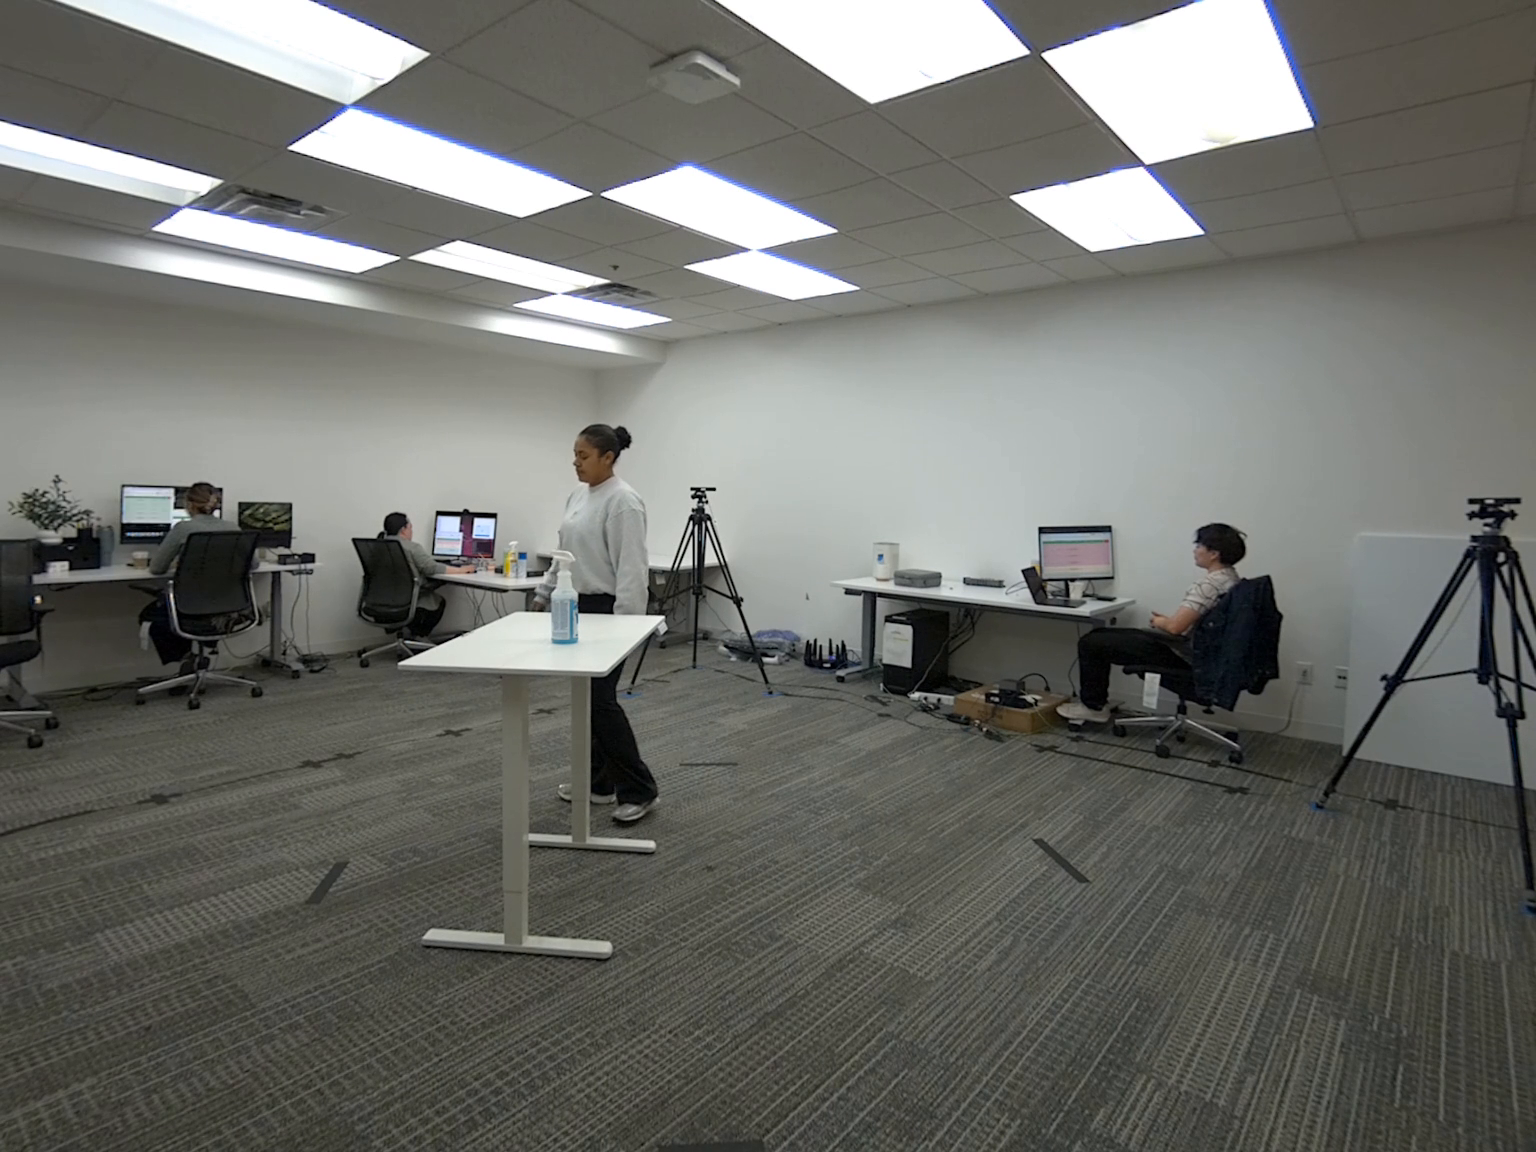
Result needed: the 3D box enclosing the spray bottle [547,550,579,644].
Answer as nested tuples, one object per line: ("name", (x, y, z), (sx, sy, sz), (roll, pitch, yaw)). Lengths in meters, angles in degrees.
("spray bottle", (-0.681, 0.065, 2.752), (0.084, 0.296, 0.093), (-2, 4, -44))
